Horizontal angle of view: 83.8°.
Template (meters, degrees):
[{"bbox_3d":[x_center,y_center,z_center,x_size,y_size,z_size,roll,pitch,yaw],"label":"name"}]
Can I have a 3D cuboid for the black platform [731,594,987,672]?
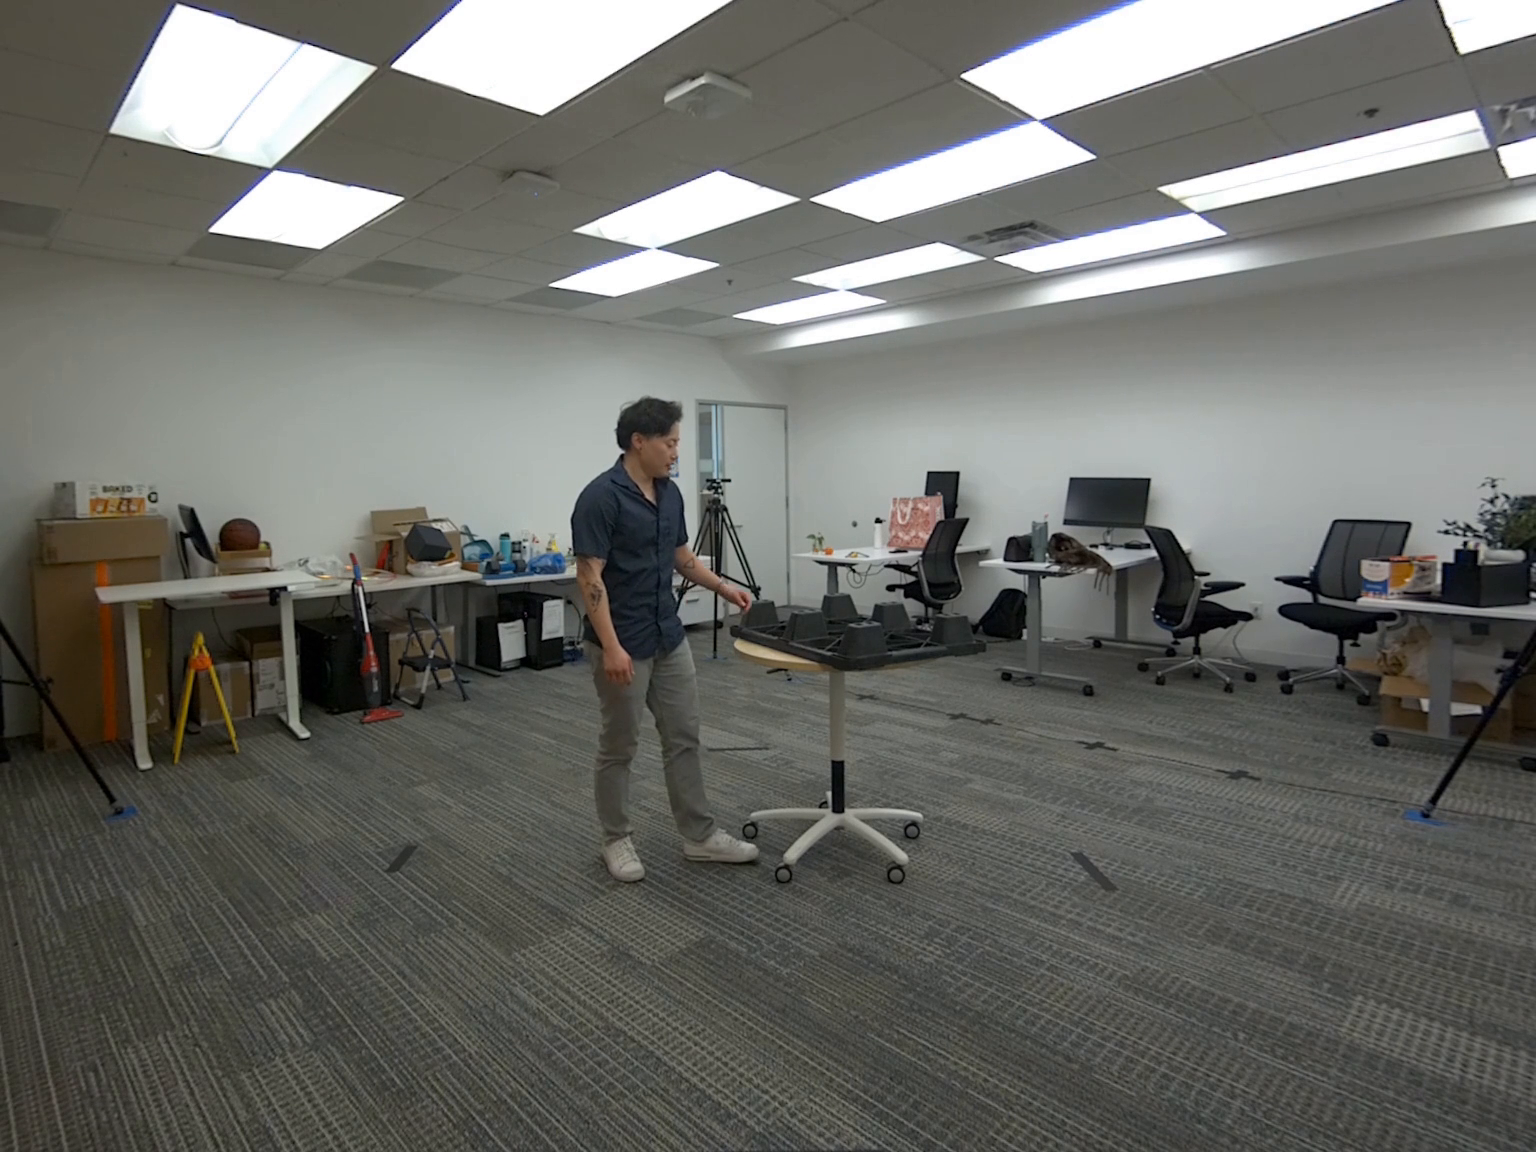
[{"bbox_3d":[0.308,0.183,3.162,0.591,0.142,0.828,-5,7,-29],"label":"black platform"}]
